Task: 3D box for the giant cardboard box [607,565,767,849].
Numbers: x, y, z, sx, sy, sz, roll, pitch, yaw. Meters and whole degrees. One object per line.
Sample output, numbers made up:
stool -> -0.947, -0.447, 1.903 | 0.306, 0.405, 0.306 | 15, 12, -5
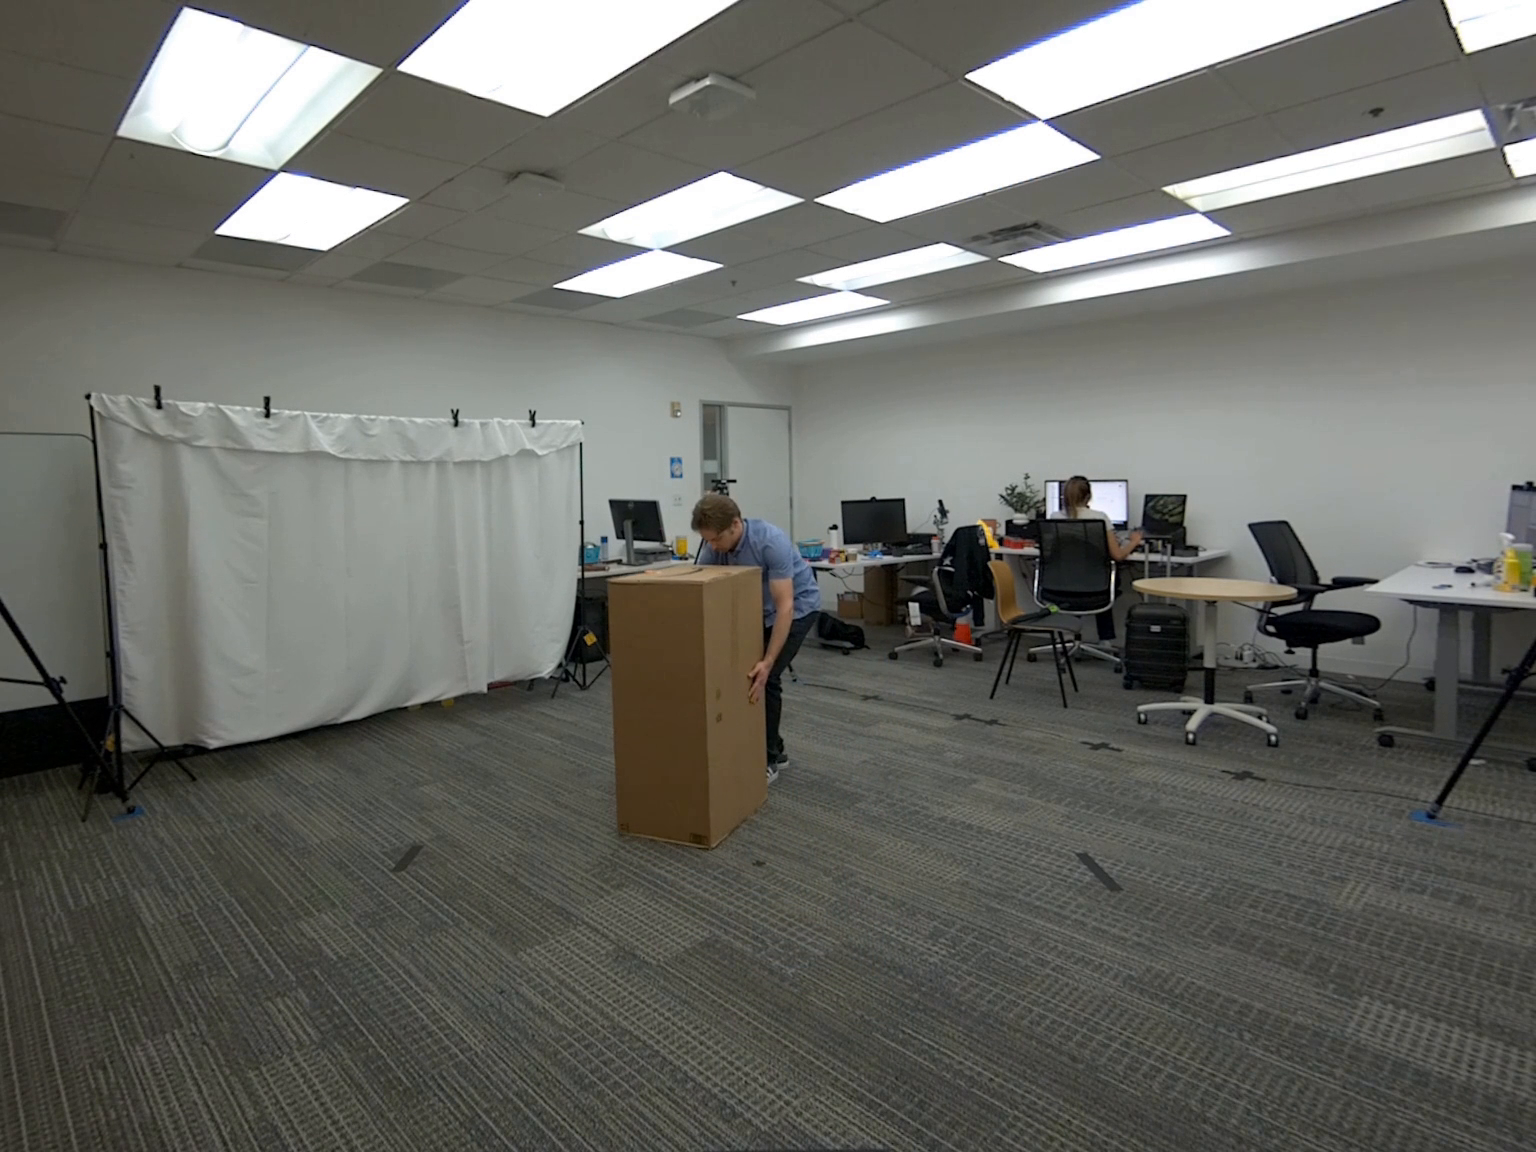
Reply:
giant cardboard box -> -0.320, 0.495, 3.540 | 0.436, 1.022, 0.566 | 0, 4, 25
